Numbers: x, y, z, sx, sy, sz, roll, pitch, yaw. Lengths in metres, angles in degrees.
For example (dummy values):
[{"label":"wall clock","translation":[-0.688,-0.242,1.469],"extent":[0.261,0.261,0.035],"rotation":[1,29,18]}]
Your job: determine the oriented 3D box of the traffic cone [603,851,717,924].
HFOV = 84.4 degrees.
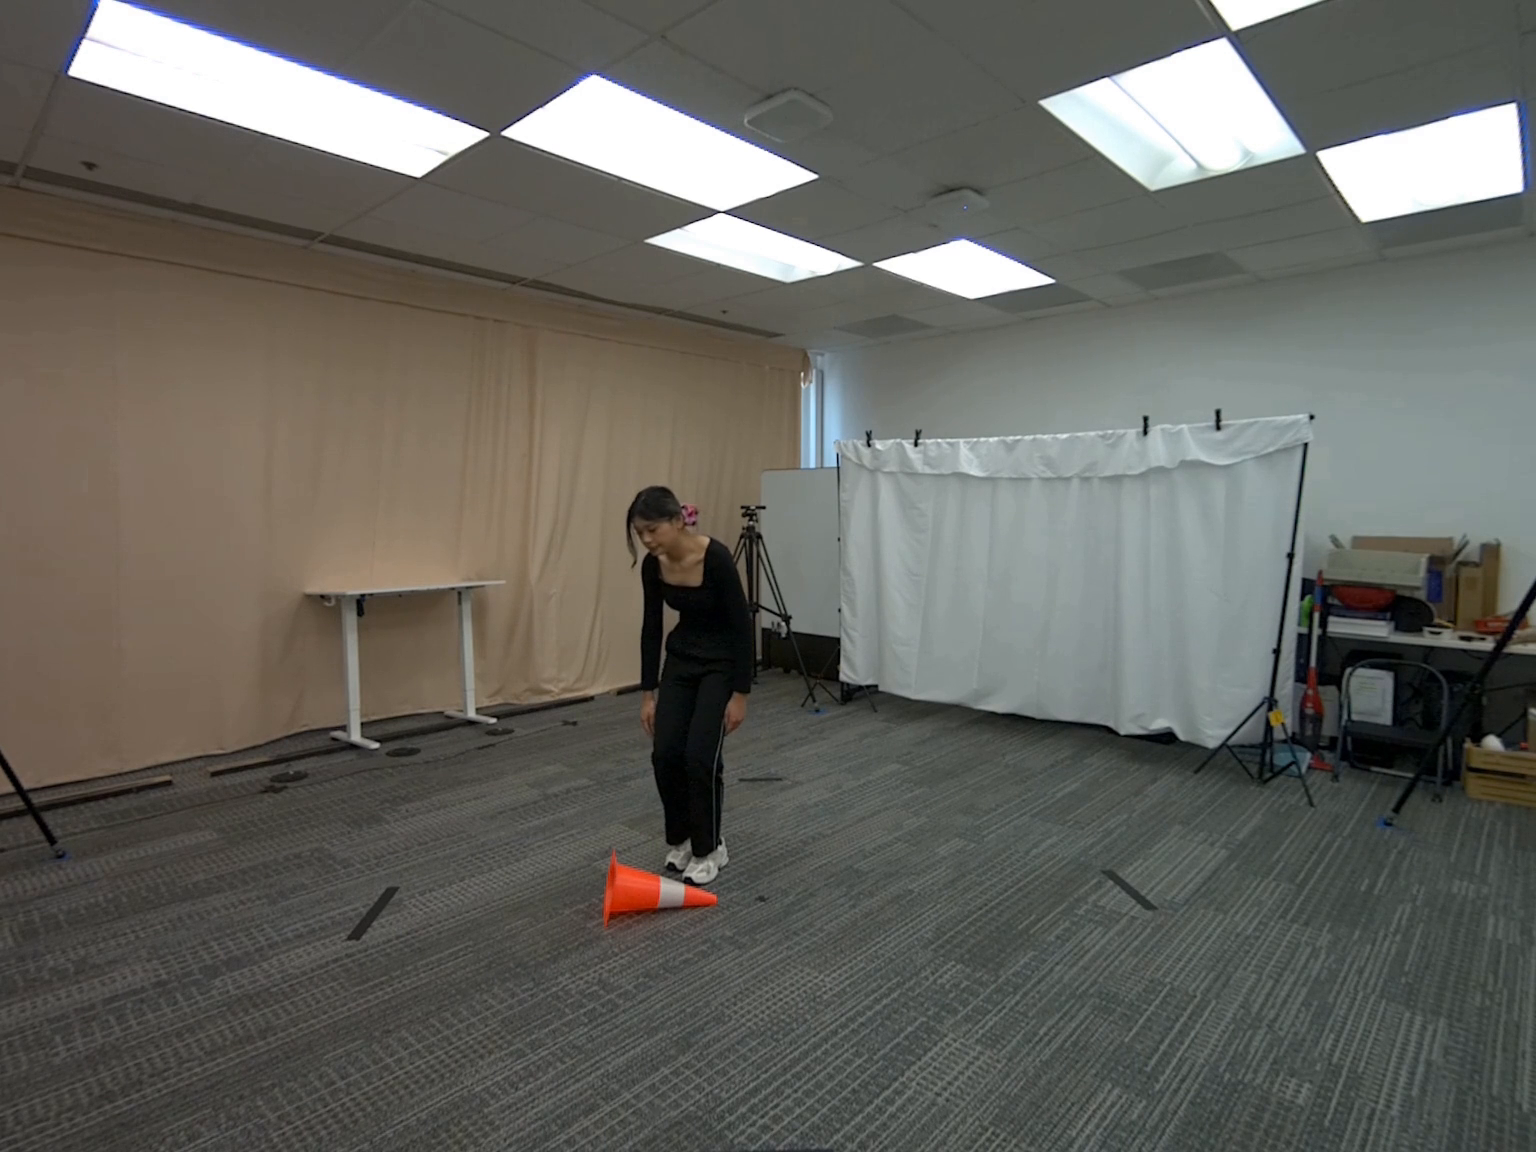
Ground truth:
[{"label":"traffic cone","translation":[-0.361,1.106,2.913],"extent":[0.377,0.205,0.207],"rotation":[14,1,-14]}]
